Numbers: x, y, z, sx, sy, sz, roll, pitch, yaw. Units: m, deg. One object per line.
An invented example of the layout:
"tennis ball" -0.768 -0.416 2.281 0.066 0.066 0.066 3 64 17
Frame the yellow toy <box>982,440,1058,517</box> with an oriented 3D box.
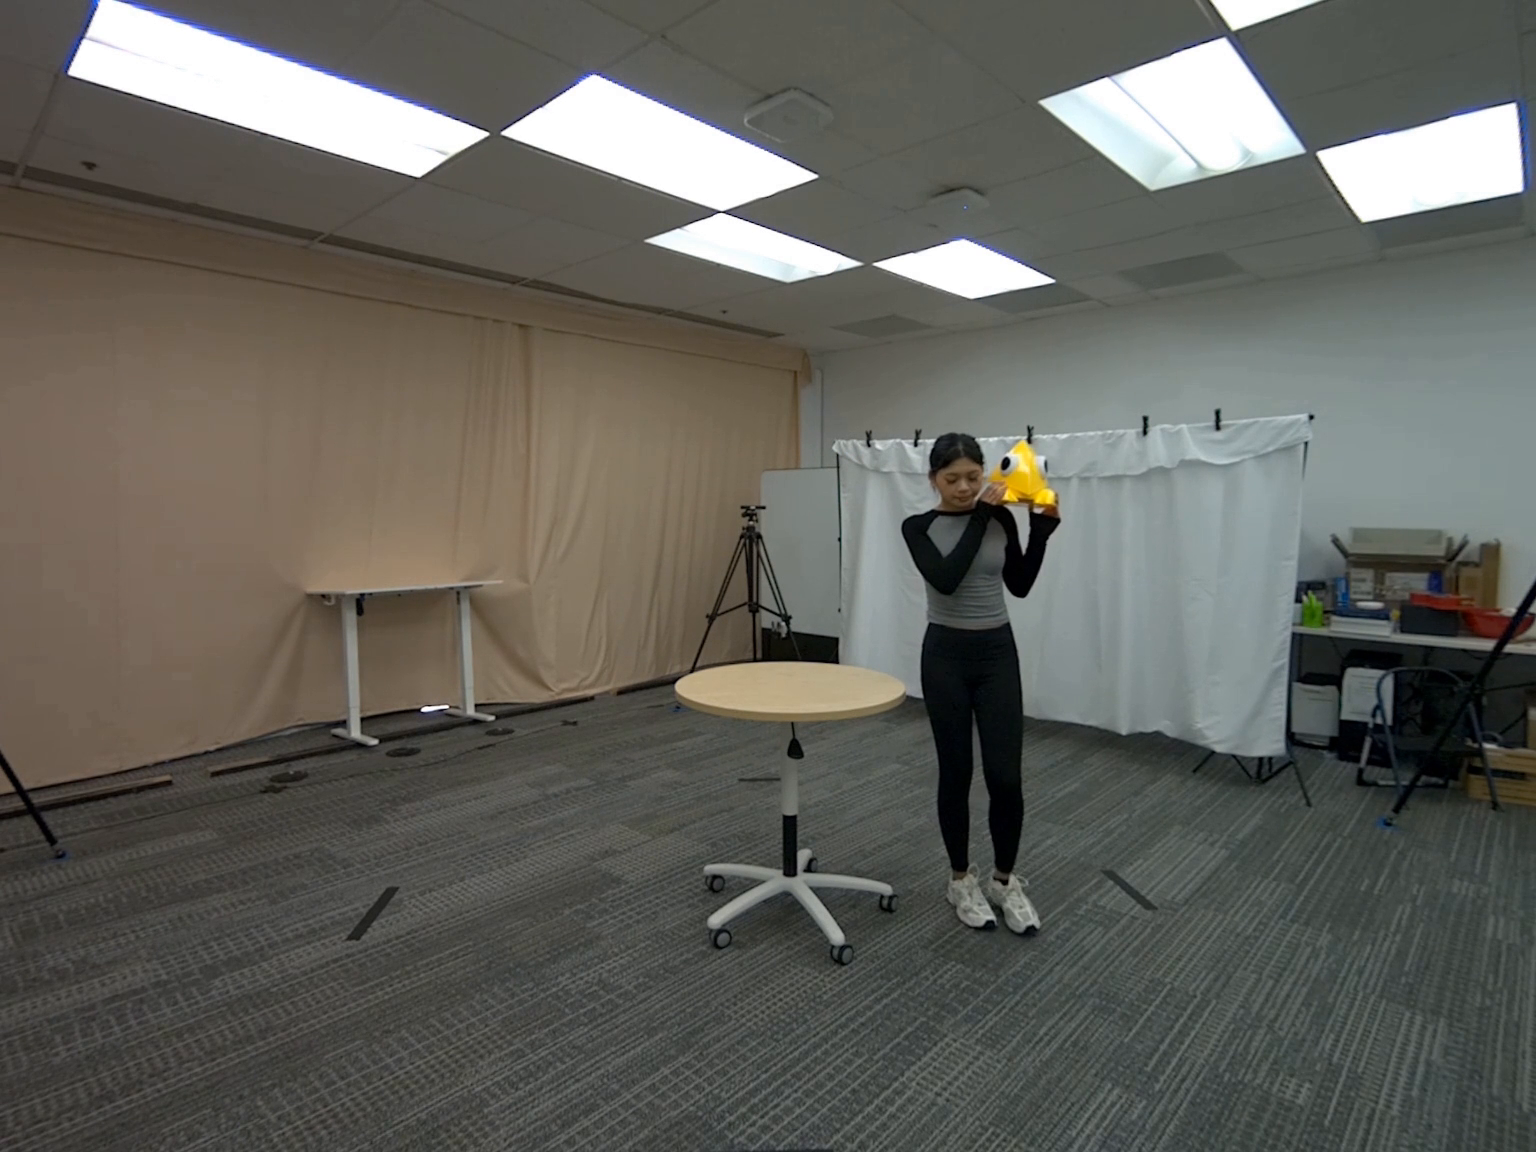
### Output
"yellow toy" 0.862 -0.350 2.768 0.207 0.231 0.191 6 -2 7
